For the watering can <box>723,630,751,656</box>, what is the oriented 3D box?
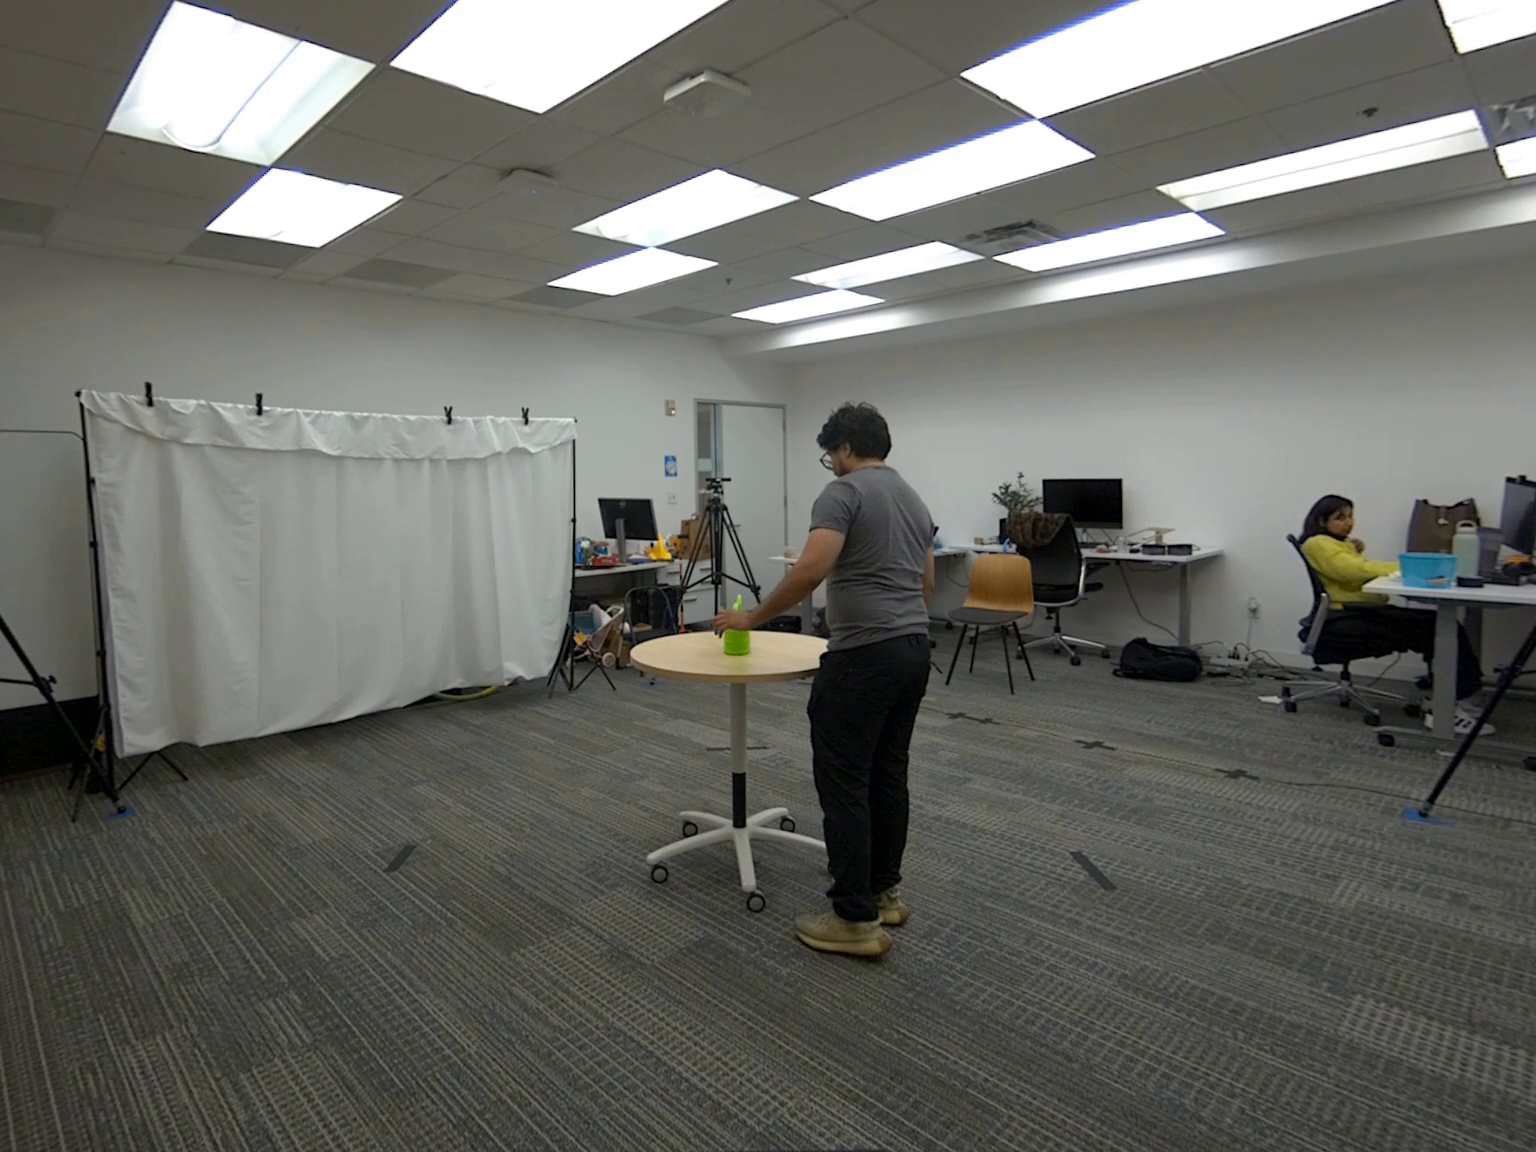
[{"bbox_3d":[-0.091,0.178,3.062,0.100,0.176,0.273,2,6,22],"label":"watering can"}]
